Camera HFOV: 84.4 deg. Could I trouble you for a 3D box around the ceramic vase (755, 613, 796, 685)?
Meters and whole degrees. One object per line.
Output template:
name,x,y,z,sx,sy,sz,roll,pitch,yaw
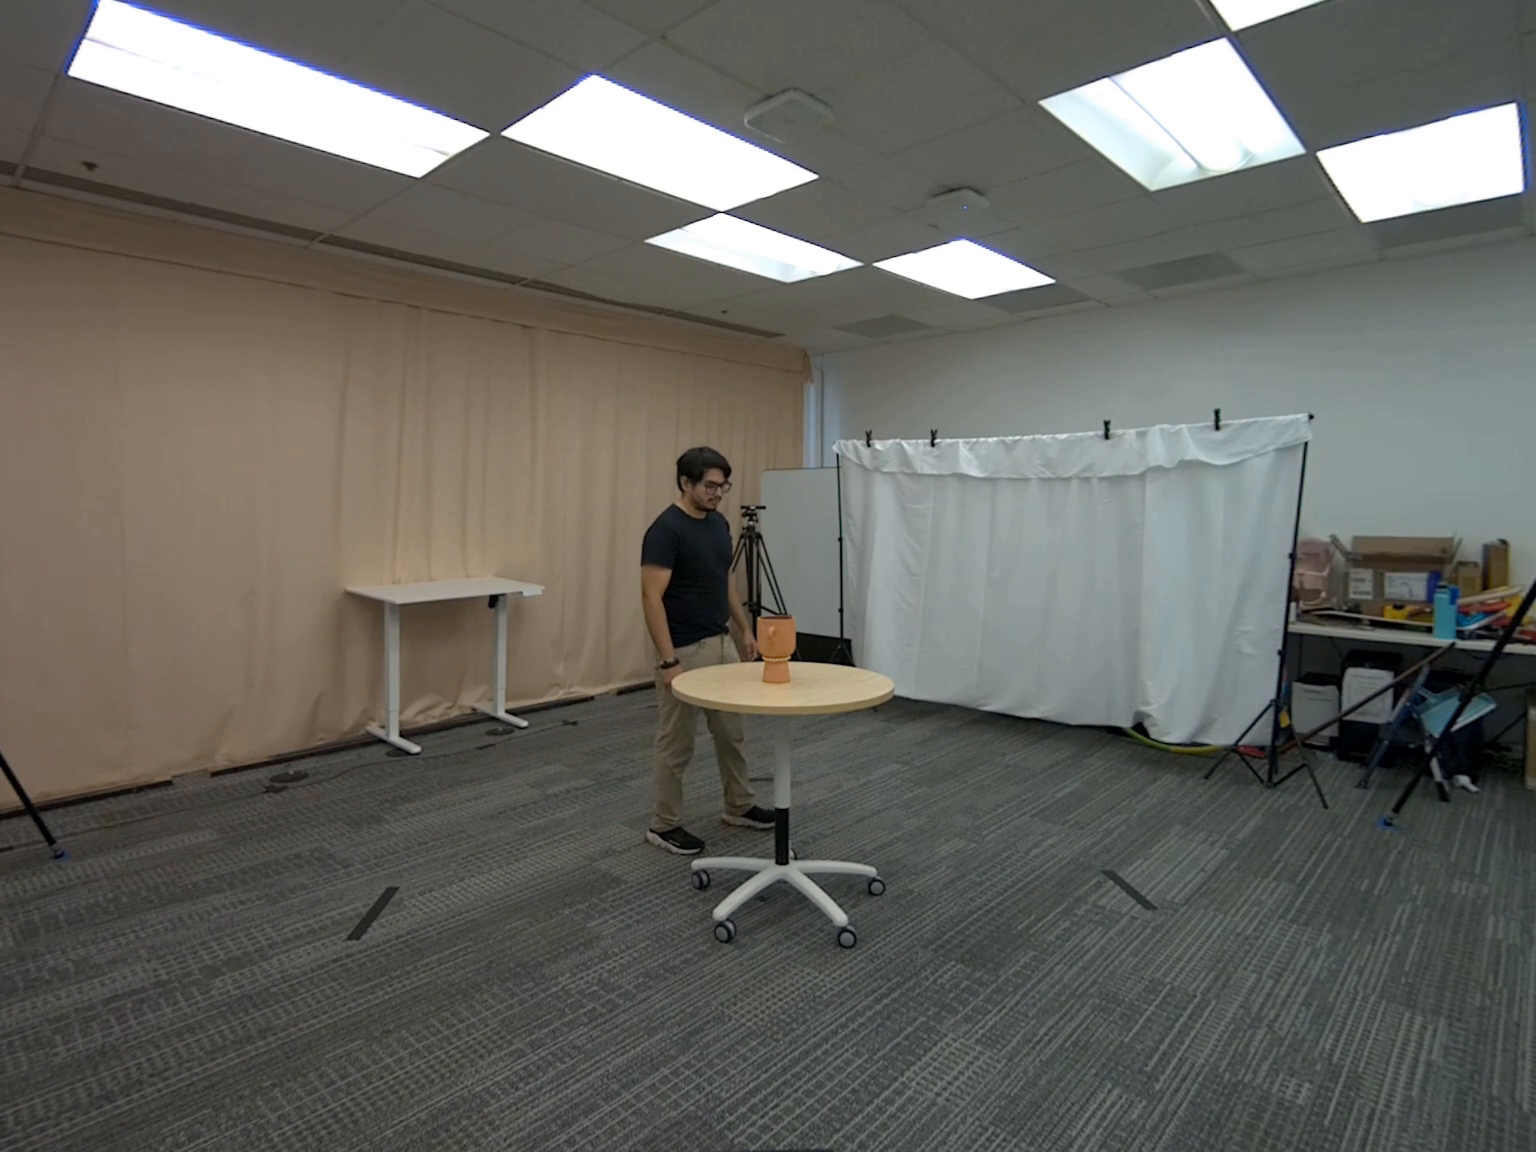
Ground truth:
ceramic vase,0.033,0.255,2.922,0.154,0.219,0.139,-3,4,-36
